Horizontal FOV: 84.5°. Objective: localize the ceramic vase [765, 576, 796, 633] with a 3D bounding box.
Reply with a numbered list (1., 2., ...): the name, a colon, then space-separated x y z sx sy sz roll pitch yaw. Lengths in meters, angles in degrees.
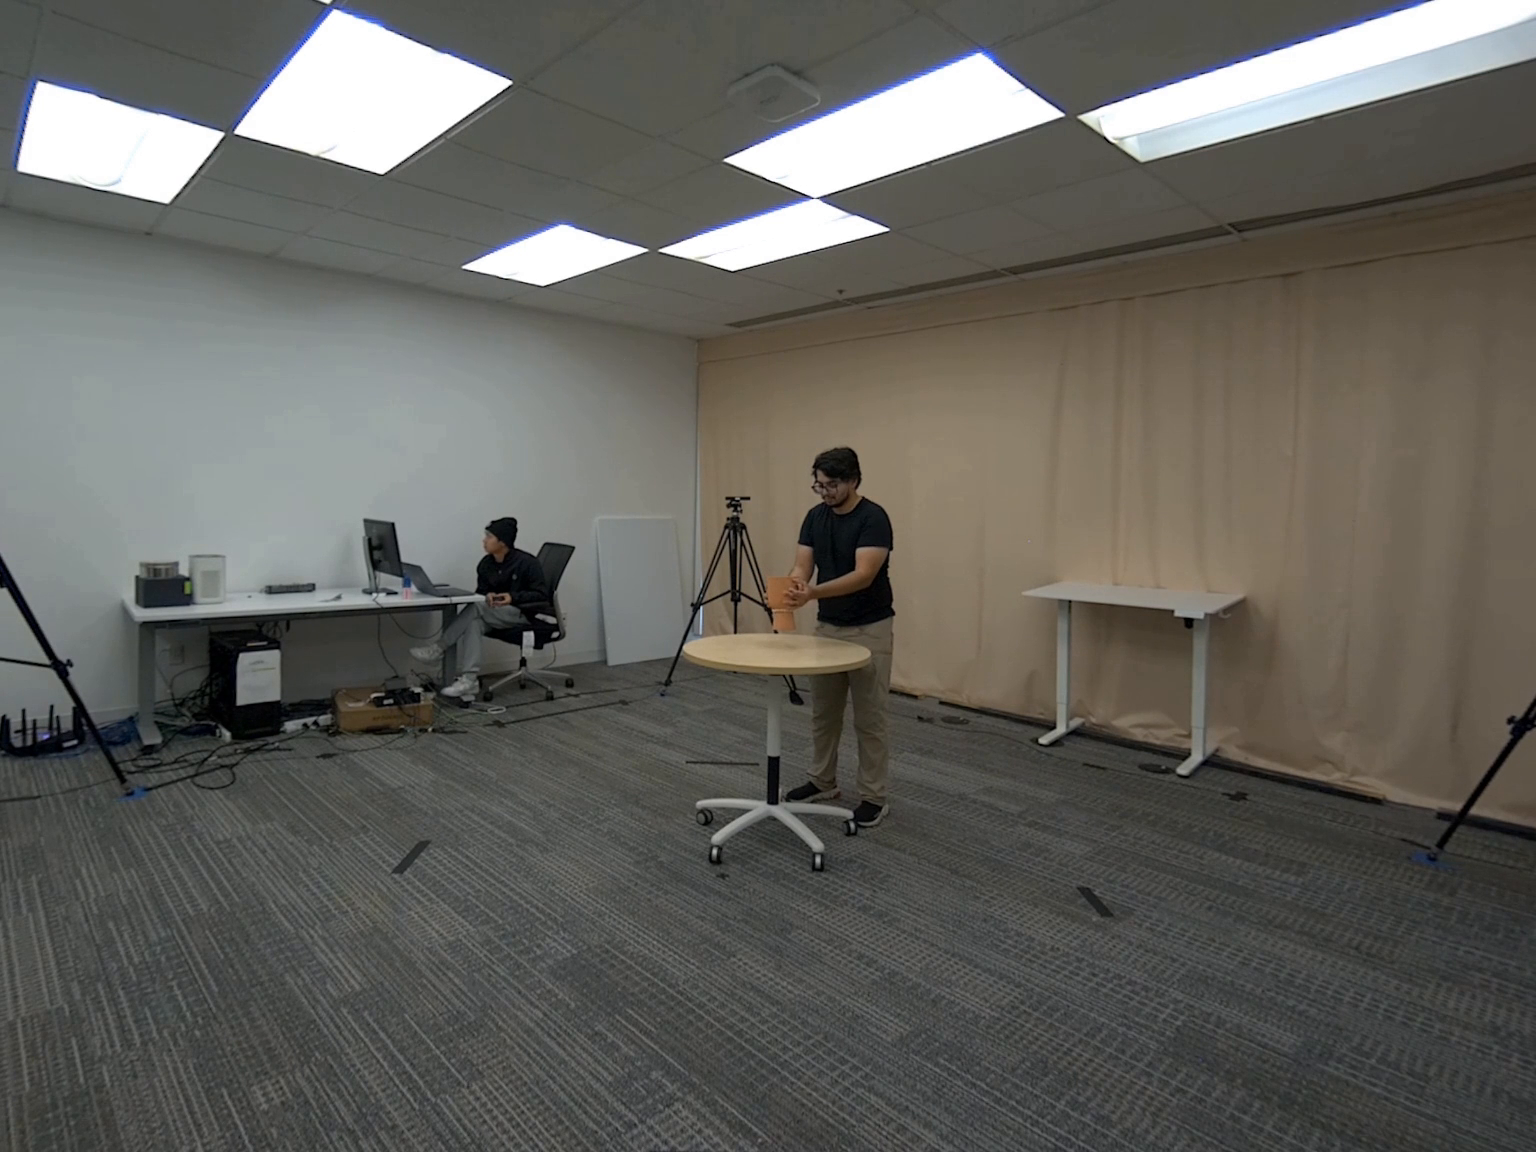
1. ceramic vase: 0.059 0.116 3.491 0.133 0.221 0.159 1 -7 -12
